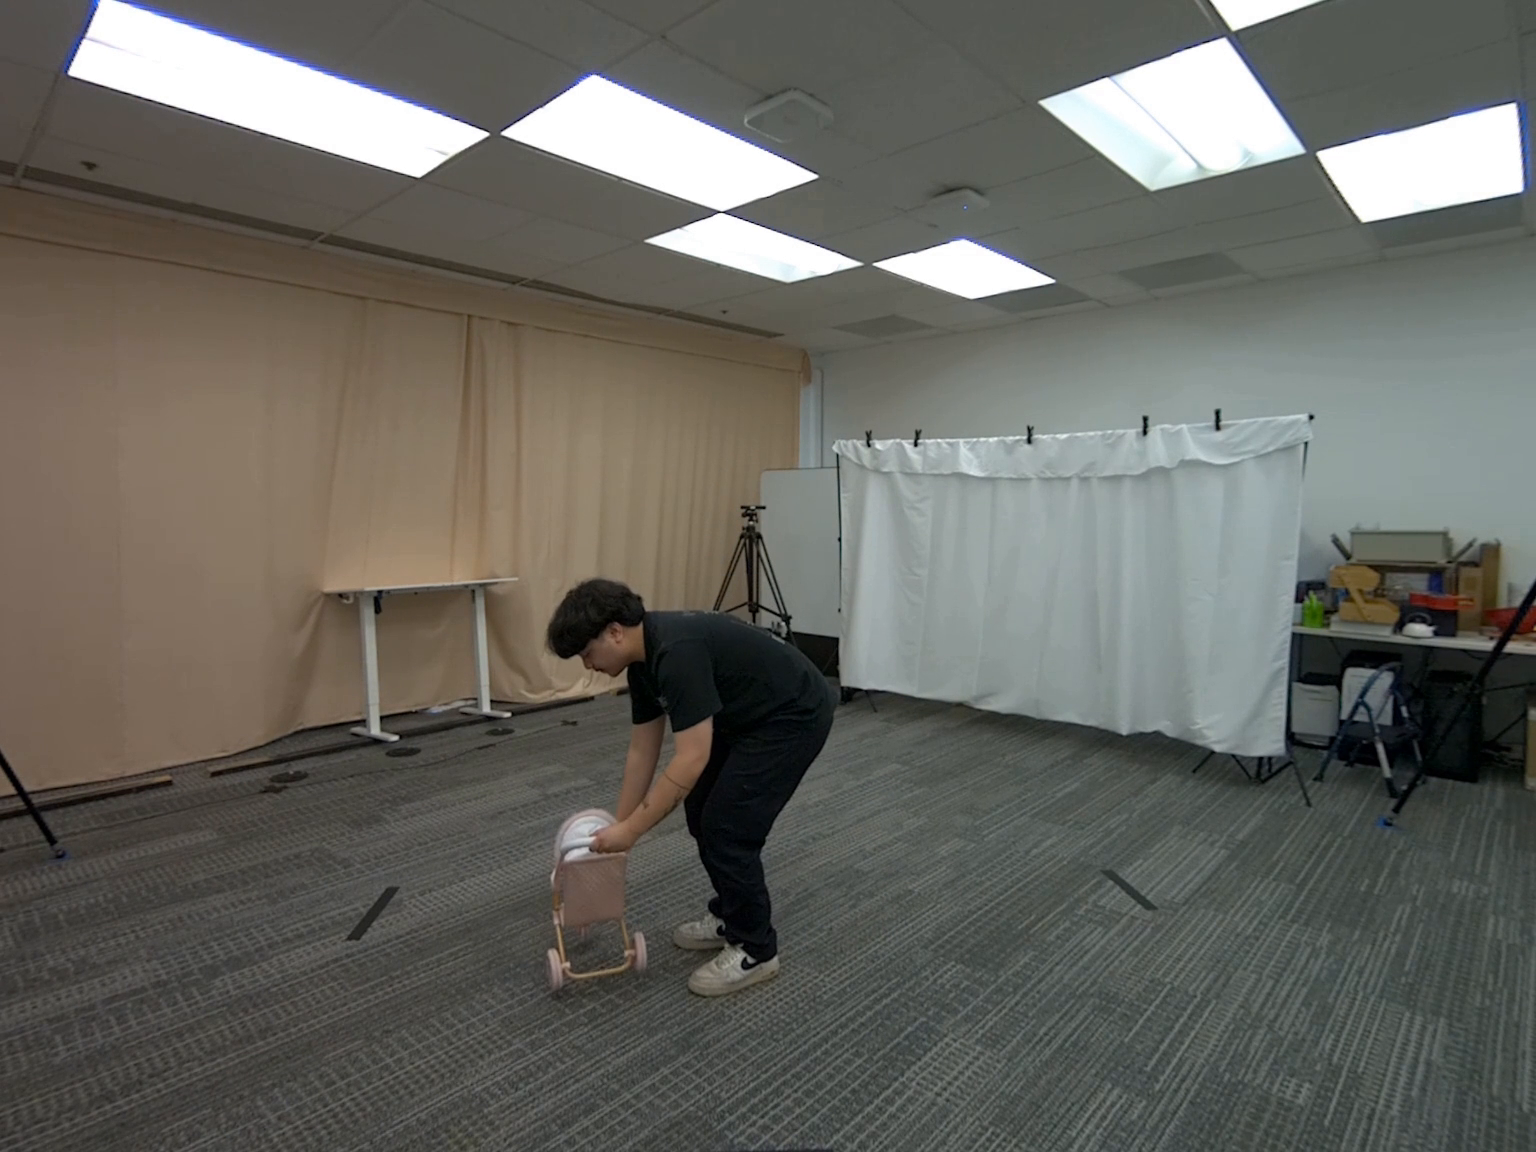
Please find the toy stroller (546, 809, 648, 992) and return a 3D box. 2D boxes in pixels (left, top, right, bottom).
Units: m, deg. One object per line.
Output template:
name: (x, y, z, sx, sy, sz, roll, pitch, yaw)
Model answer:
toy stroller: (-0.524, 0.930, 2.498, 0.277, 0.530, 0.350, -2, 15, -17)
